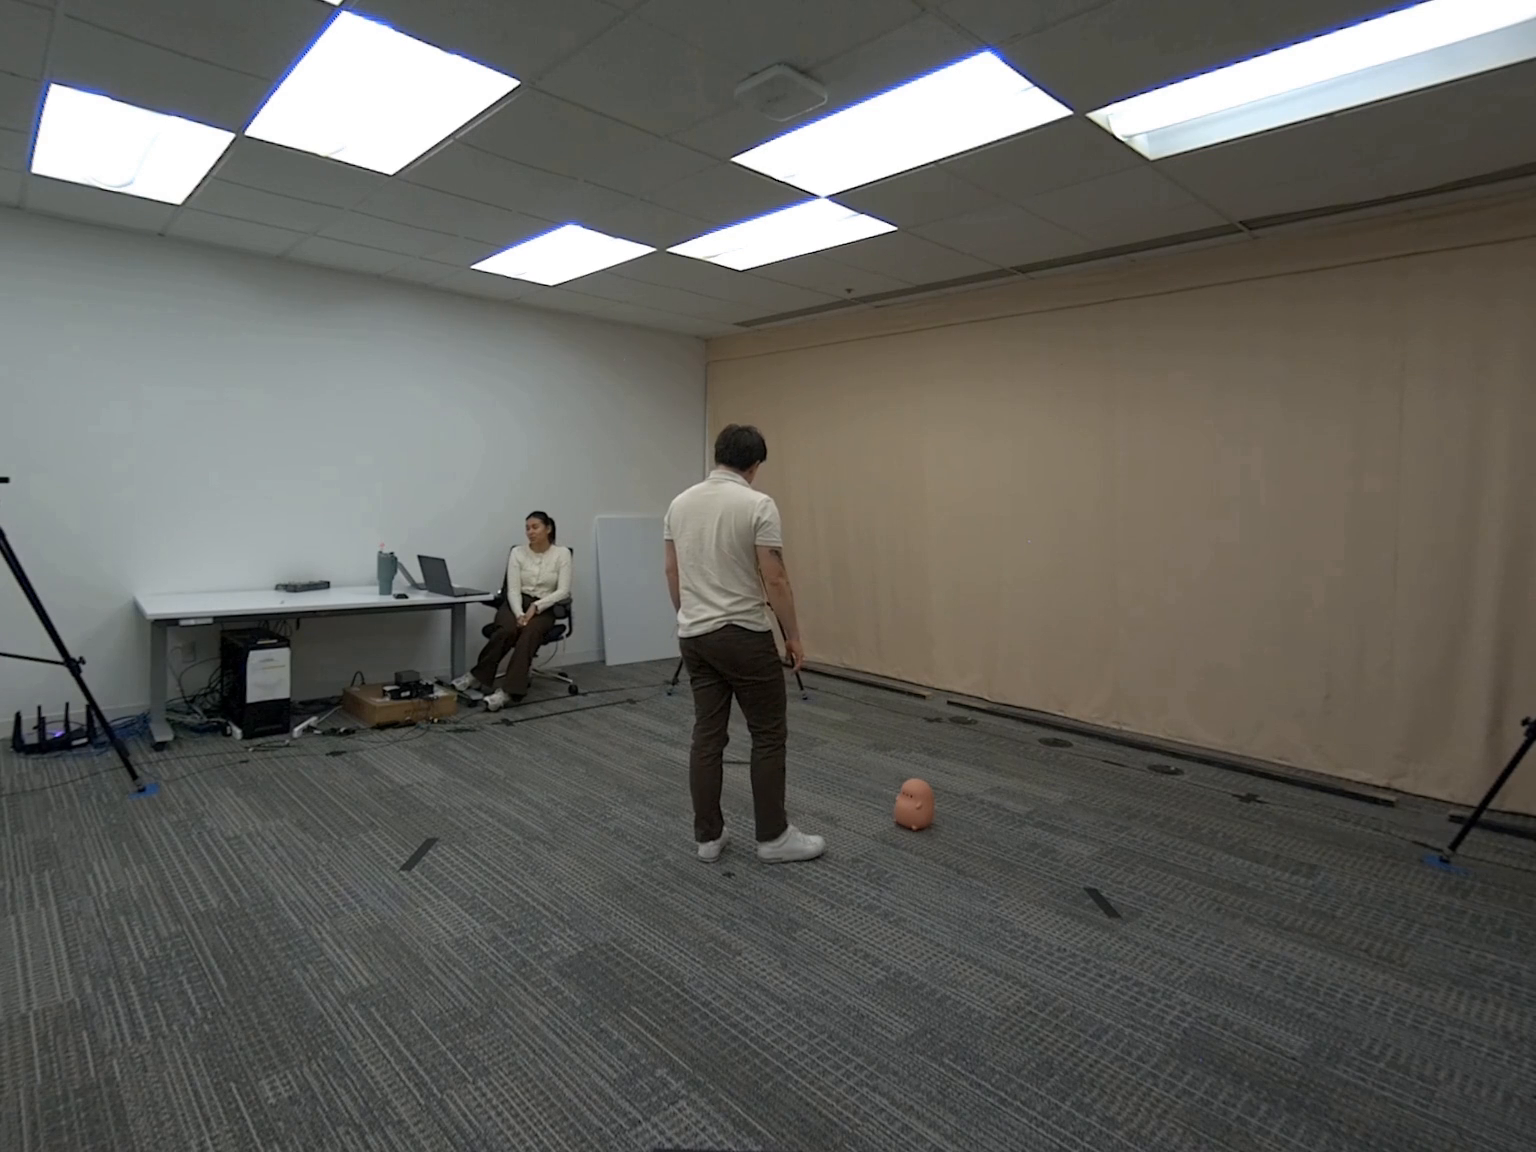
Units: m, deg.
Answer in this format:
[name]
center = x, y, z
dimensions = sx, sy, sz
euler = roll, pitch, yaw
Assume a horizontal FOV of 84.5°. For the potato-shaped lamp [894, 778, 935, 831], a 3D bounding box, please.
[potato-shaped lamp]
center = 0.620, 0.974, 3.635
dimensions = 0.167, 0.198, 0.168
euler = 0, 1, -40
